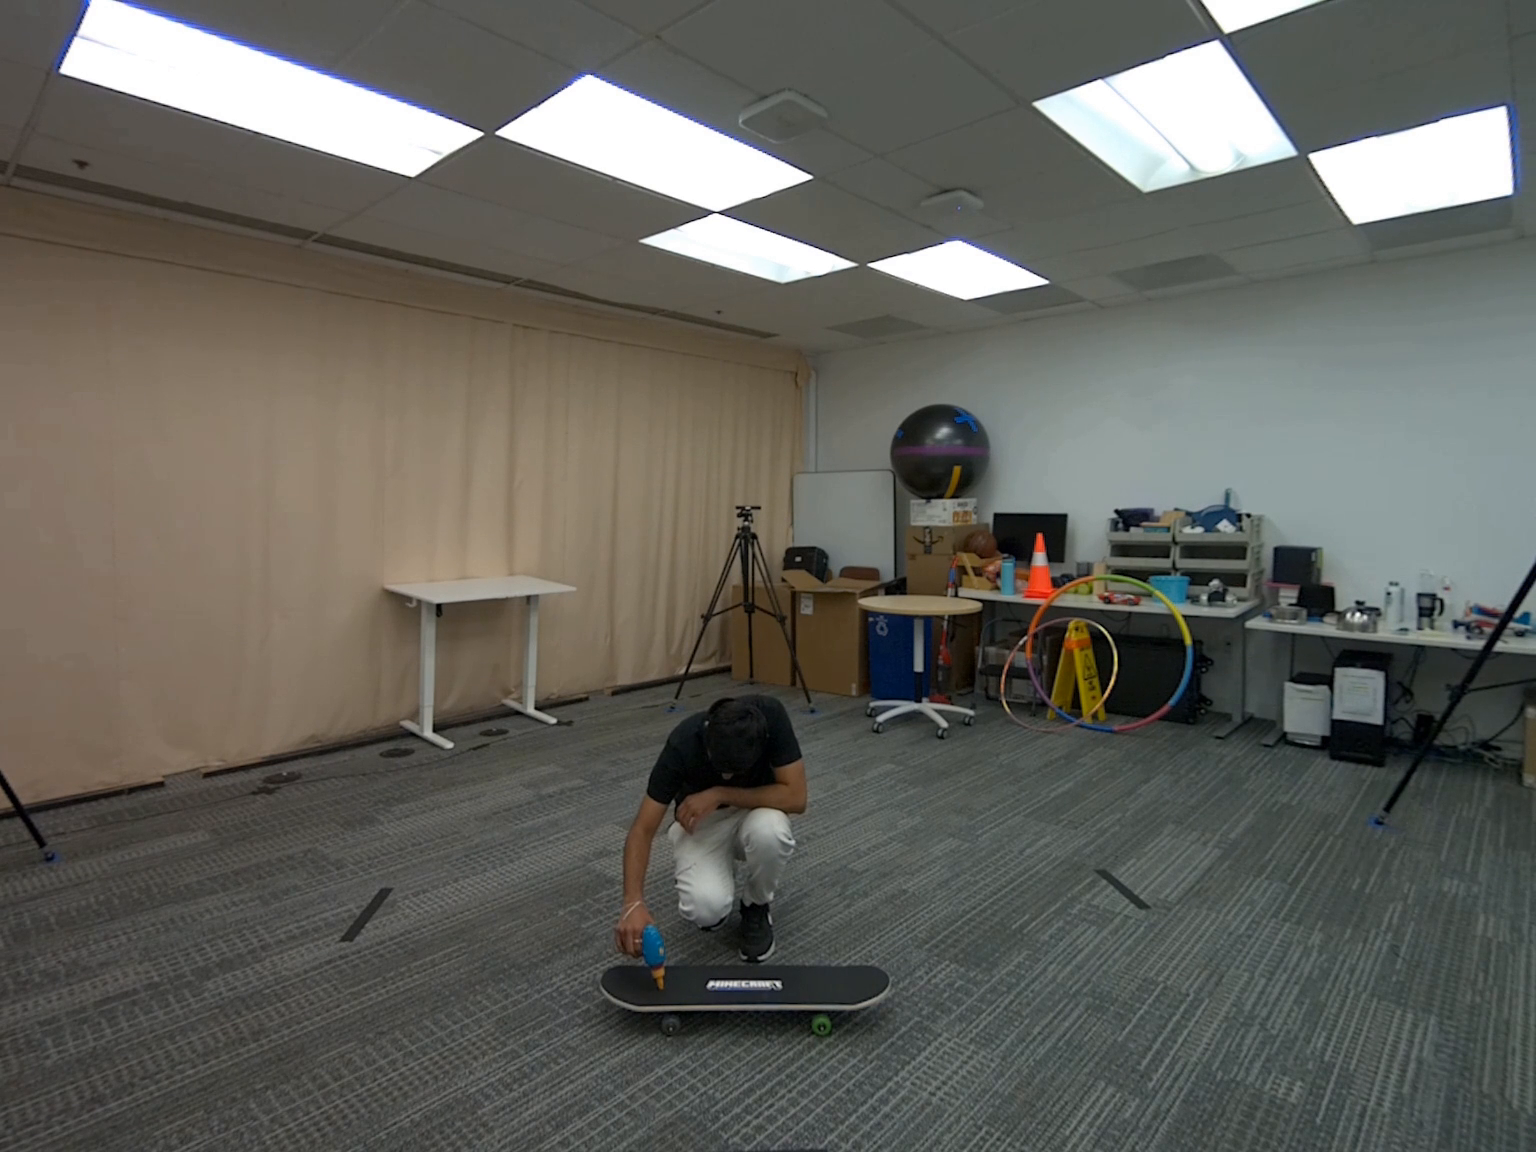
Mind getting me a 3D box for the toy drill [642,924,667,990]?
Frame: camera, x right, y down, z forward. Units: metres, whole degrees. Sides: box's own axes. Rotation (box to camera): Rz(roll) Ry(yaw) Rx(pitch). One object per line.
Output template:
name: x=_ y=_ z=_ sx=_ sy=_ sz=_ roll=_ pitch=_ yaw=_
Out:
toy drill: x=-0.326 y=1.033 z=2.304 sx=0.060 sy=0.170 sz=0.149 roll=-19 pitch=0 yaw=-33
